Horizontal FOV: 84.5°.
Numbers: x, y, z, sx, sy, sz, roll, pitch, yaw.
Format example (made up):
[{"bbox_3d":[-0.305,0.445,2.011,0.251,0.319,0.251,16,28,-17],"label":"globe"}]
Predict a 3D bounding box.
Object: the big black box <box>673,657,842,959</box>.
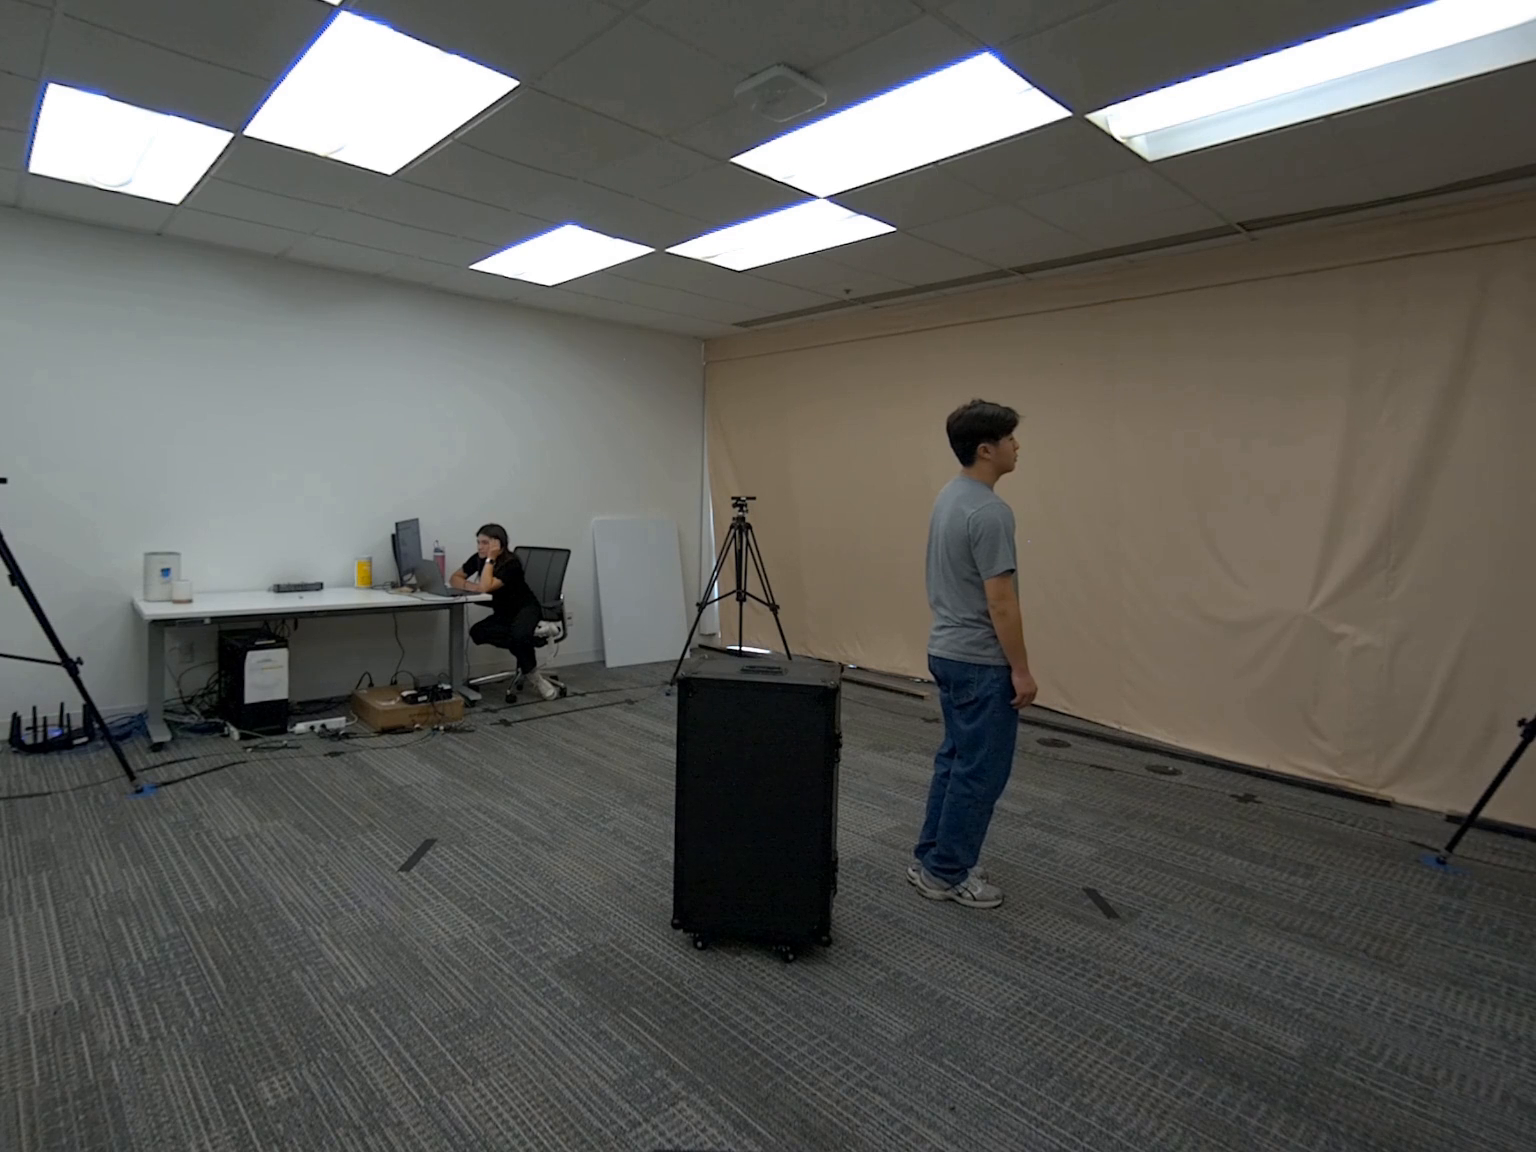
[{"bbox_3d":[-0.034,0.721,2.690,0.526,0.860,0.393,1,2,10],"label":"big black box"}]
